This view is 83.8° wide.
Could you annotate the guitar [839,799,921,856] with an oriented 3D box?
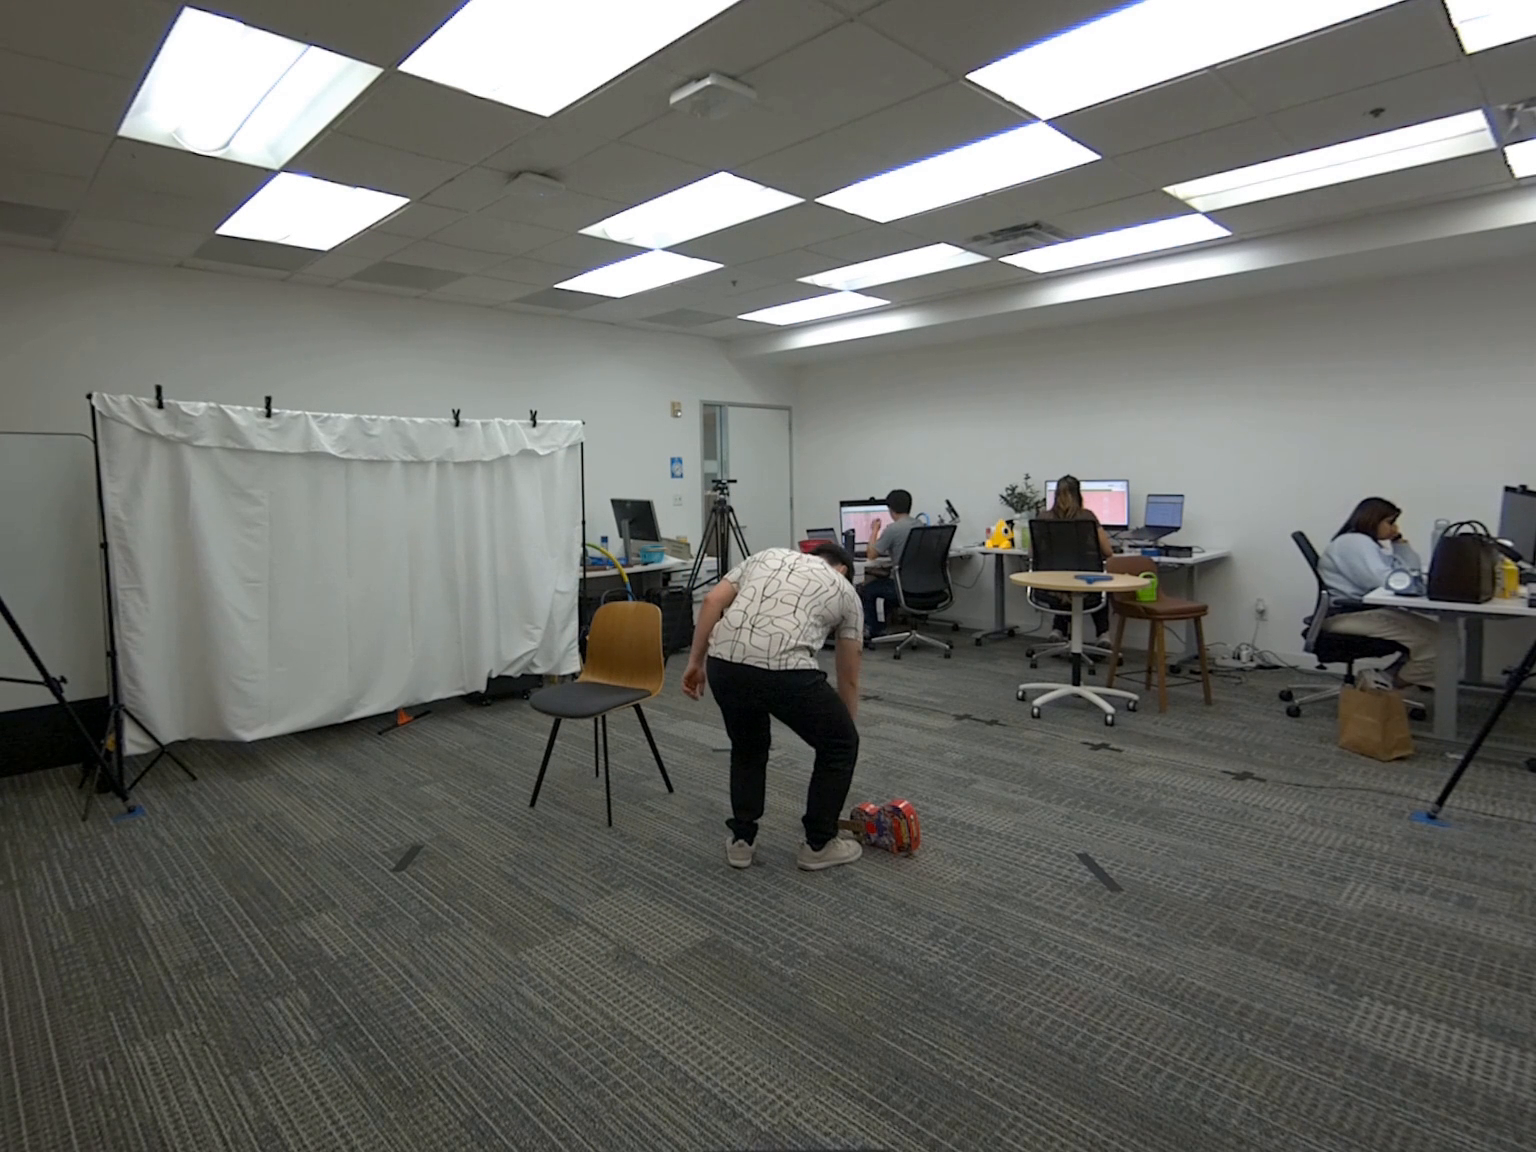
[{"bbox_3d":[0.341,0.925,3.288,0.513,0.192,0.069,3,9,40],"label":"guitar"}]
